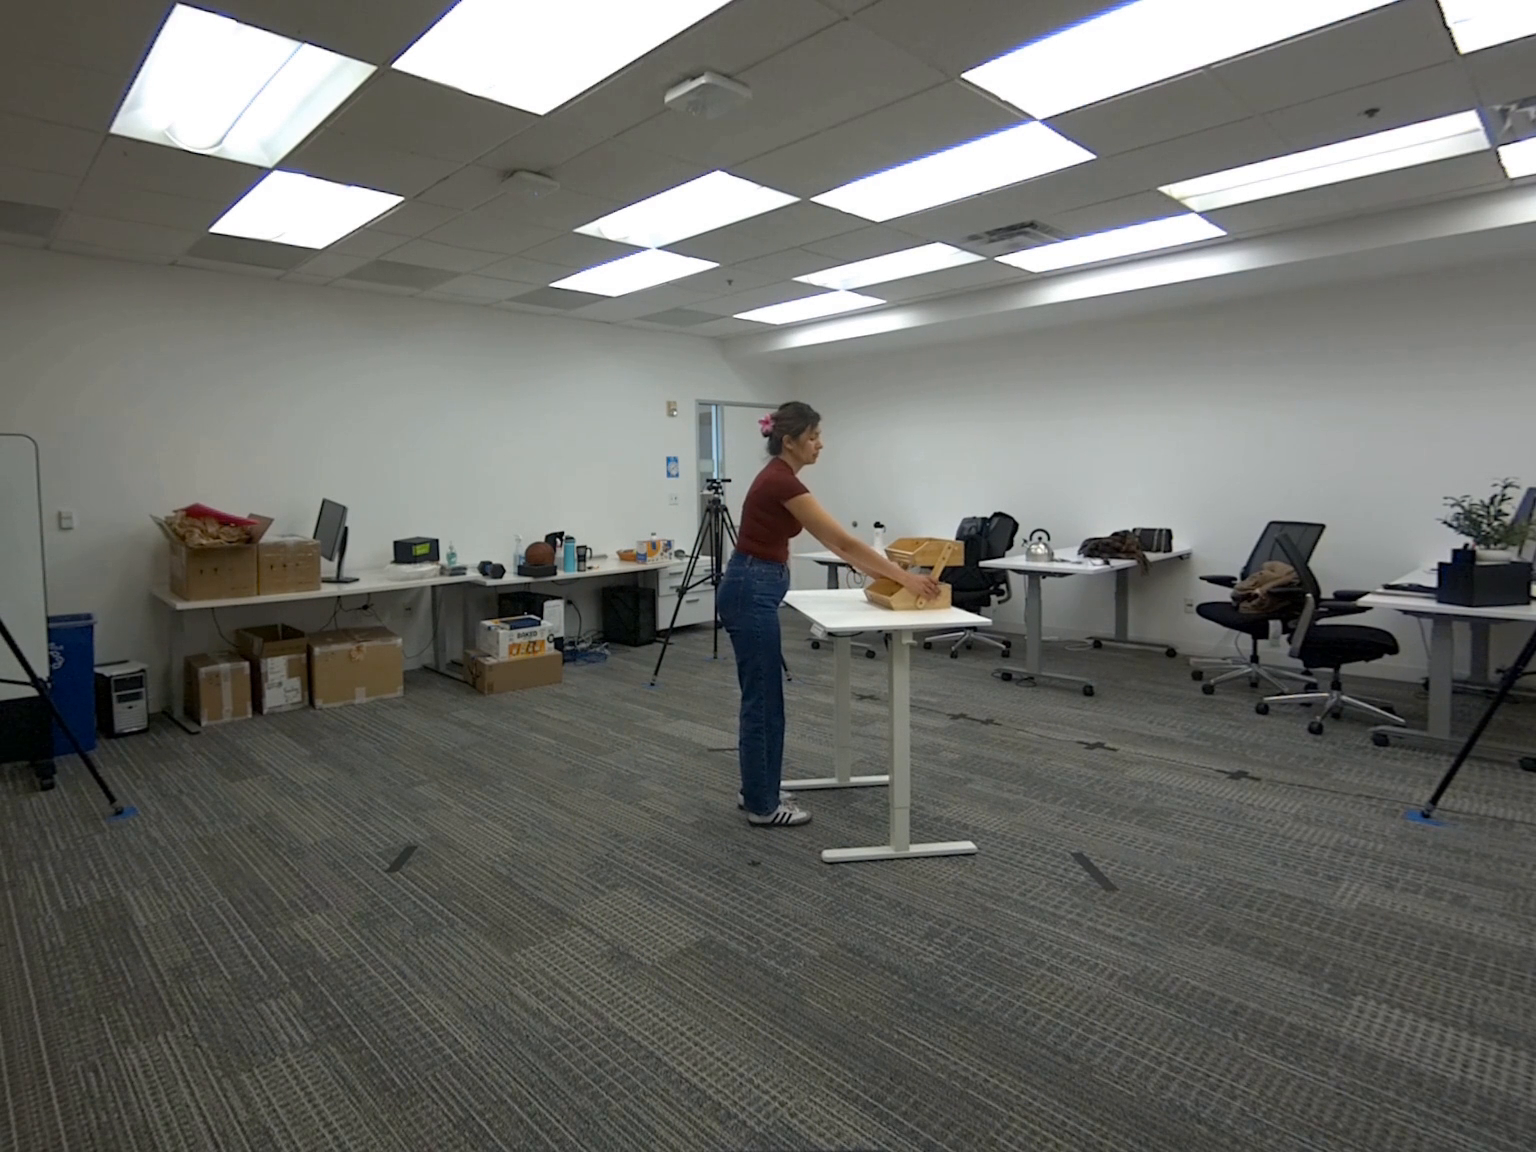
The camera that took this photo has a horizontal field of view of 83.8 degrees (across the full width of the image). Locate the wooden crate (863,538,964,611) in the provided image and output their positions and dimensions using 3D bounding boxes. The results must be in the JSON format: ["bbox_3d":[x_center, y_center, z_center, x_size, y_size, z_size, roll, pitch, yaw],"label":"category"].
[{"bbox_3d":[0.572,-0.017,3.430,0.298,0.272,0.329,-1,5,-13],"label":"wooden crate"}]
